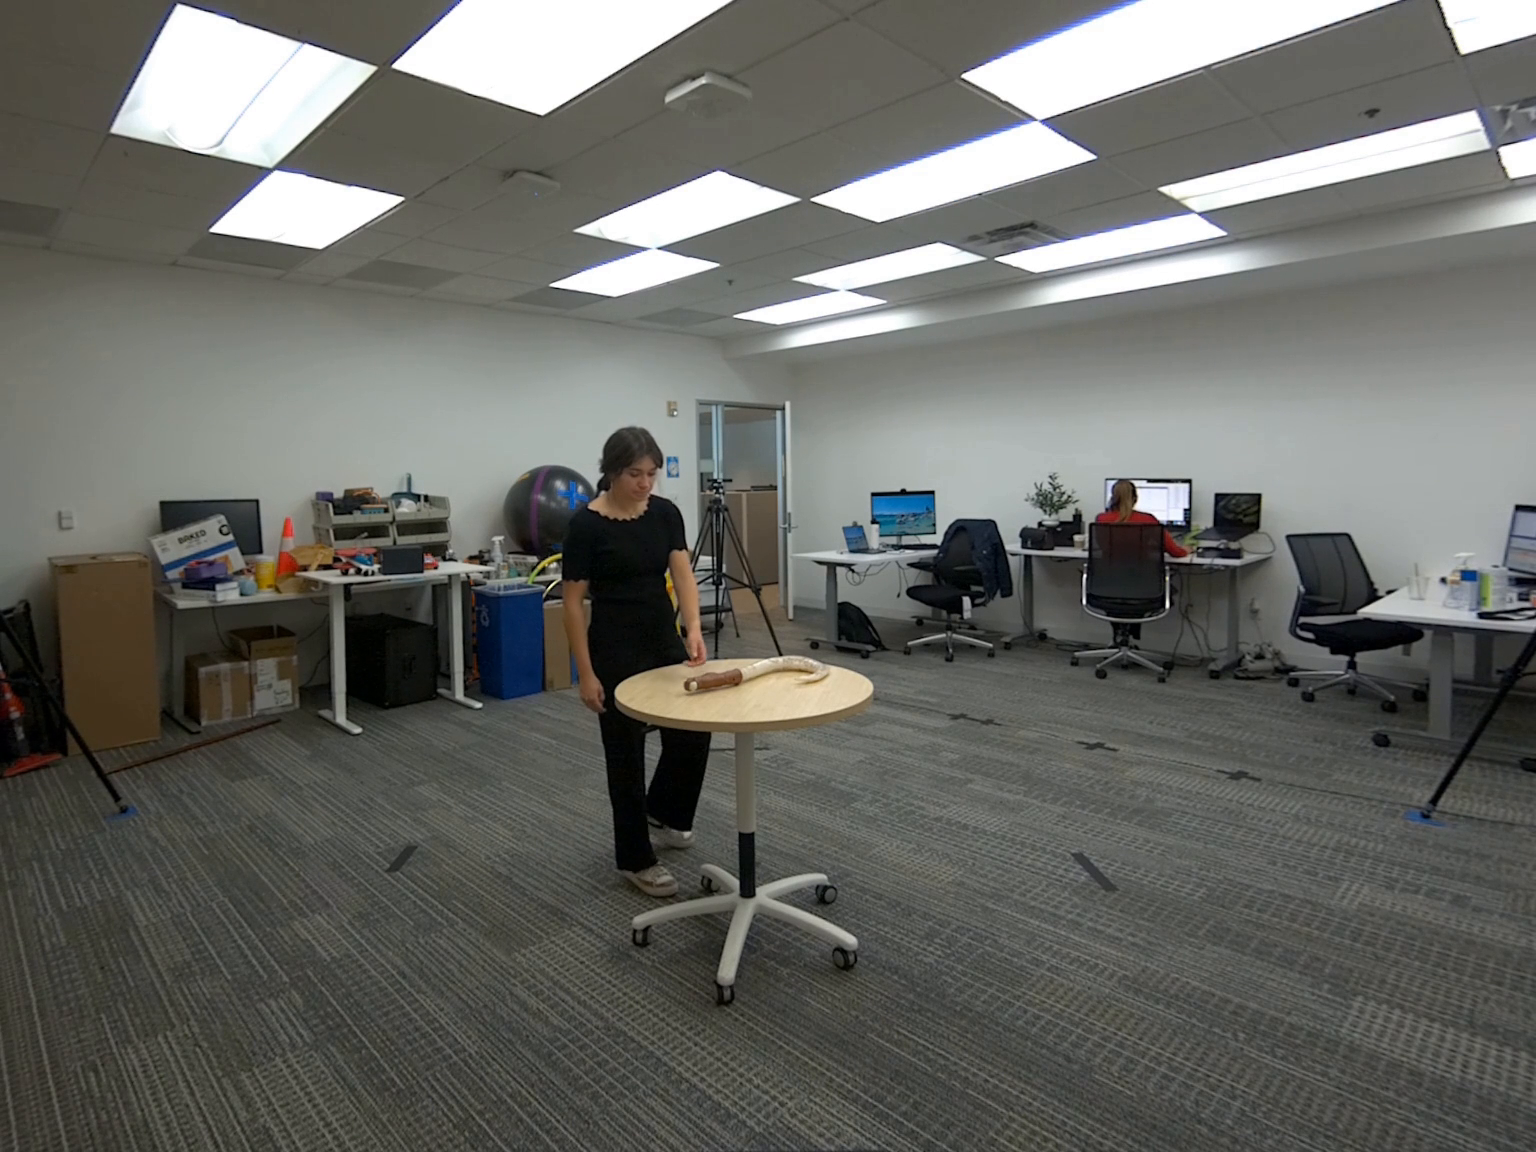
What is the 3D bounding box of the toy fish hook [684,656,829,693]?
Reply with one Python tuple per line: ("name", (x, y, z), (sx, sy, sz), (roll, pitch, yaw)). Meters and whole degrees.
("toy fish hook", (-0.019, 0.300, 2.569), (0.493, 0.048, 0.231), (-5, 3, -39))
